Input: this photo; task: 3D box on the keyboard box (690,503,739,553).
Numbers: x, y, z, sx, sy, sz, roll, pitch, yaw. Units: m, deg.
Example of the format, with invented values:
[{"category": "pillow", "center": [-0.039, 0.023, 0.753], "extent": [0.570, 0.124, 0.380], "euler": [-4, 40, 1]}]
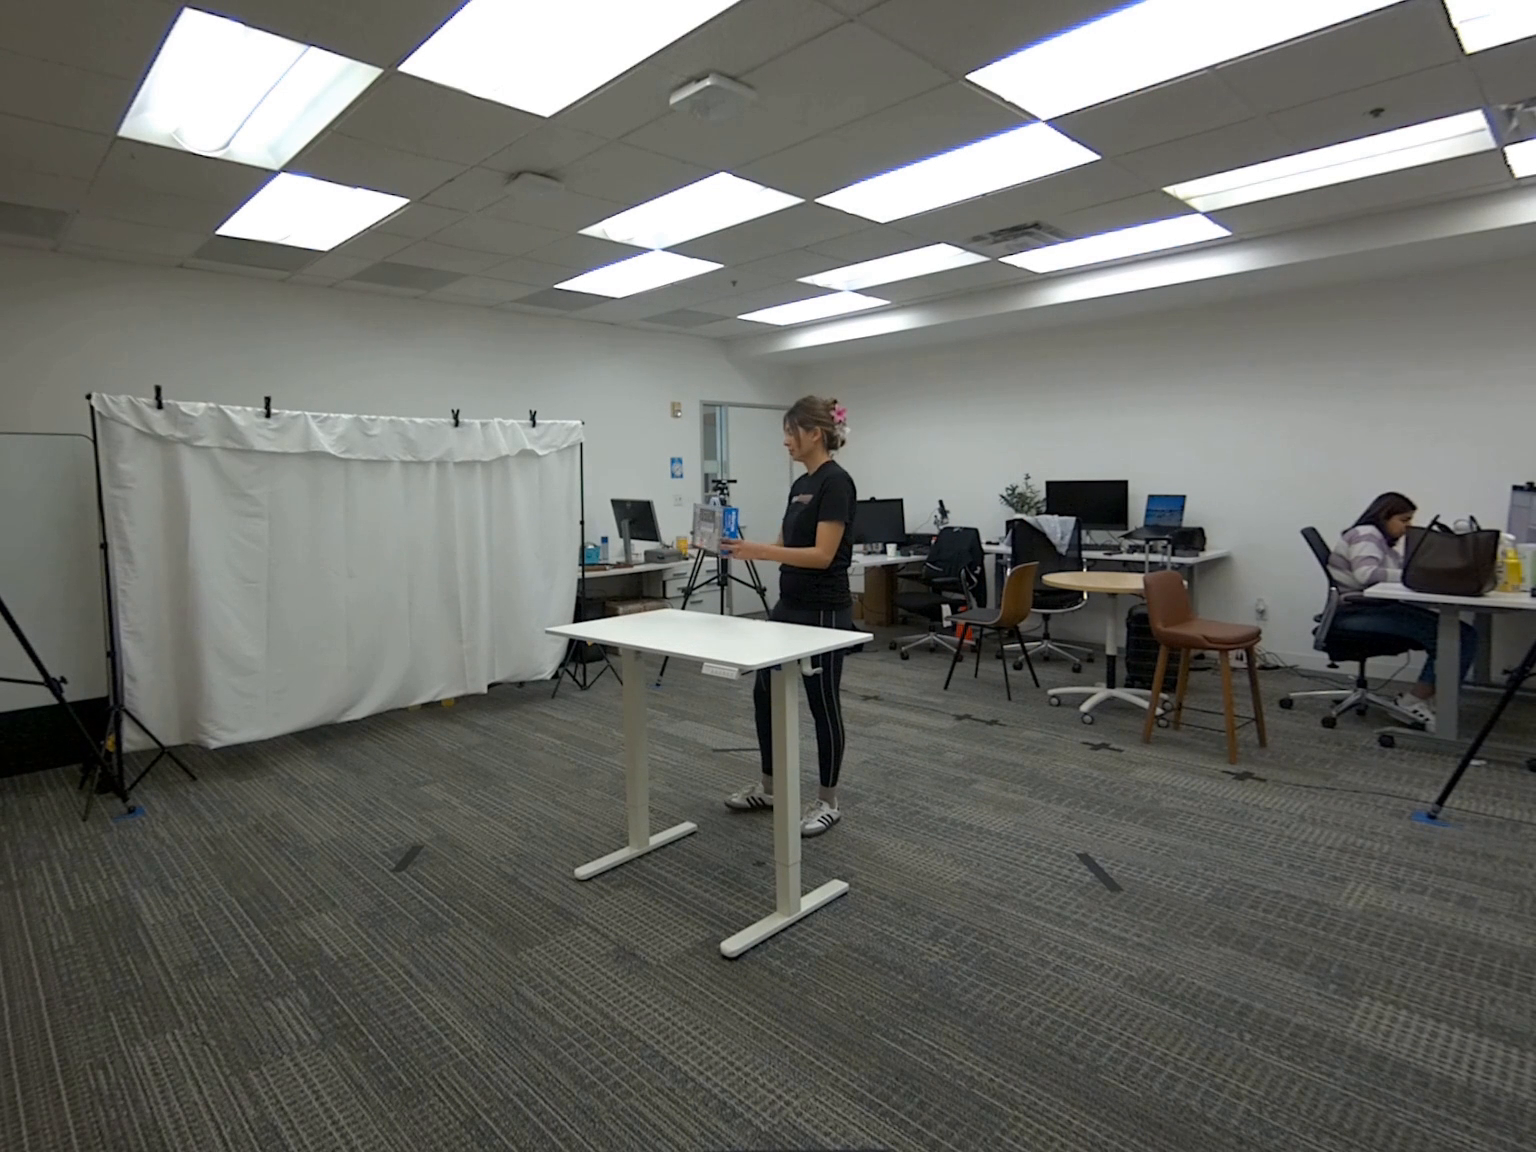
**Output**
[{"category": "keyboard box", "center": [-0.209, -0.186, 3.312], "extent": [0.058, 0.175, 0.446], "euler": [1, 6, -19]}]
